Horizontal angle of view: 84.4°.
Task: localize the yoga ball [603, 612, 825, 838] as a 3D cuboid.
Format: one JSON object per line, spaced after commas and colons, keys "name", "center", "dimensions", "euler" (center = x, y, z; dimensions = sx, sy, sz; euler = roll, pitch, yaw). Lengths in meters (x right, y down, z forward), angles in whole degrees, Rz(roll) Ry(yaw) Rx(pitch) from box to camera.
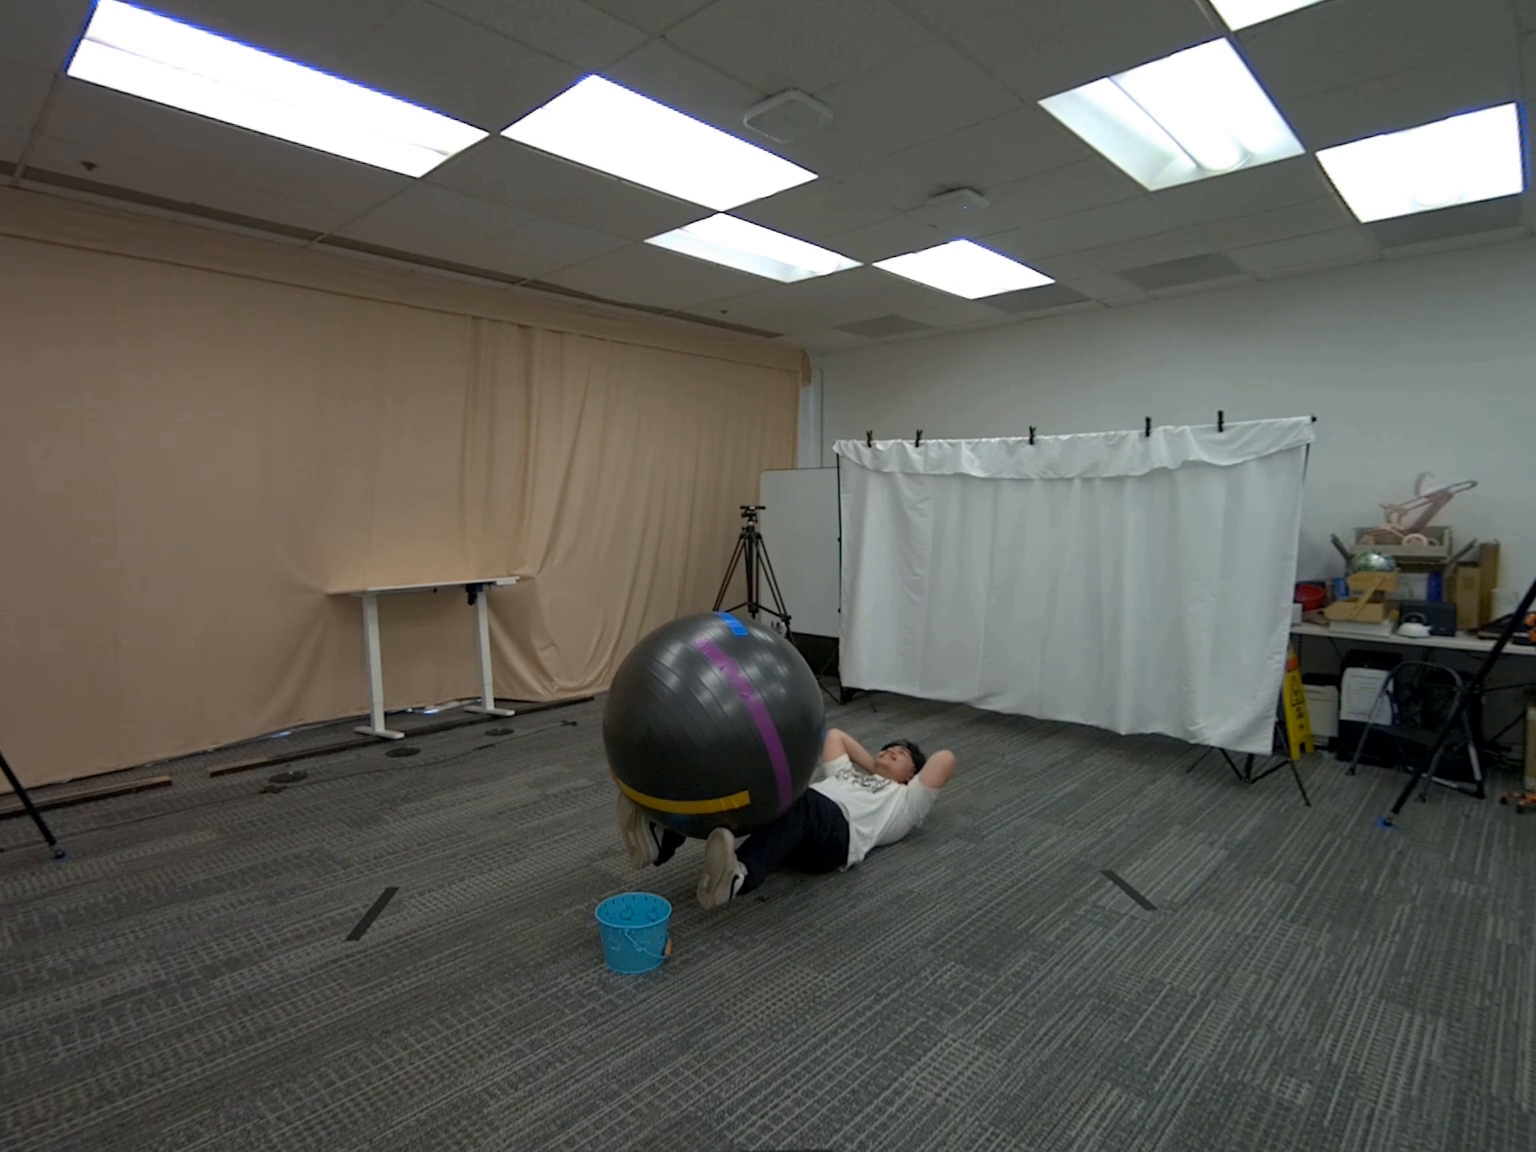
{"name": "yoga ball", "center": [-0.180, 0.497, 2.884], "dimensions": [0.757, 0.756, 0.760], "euler": [0, 4, -2]}
